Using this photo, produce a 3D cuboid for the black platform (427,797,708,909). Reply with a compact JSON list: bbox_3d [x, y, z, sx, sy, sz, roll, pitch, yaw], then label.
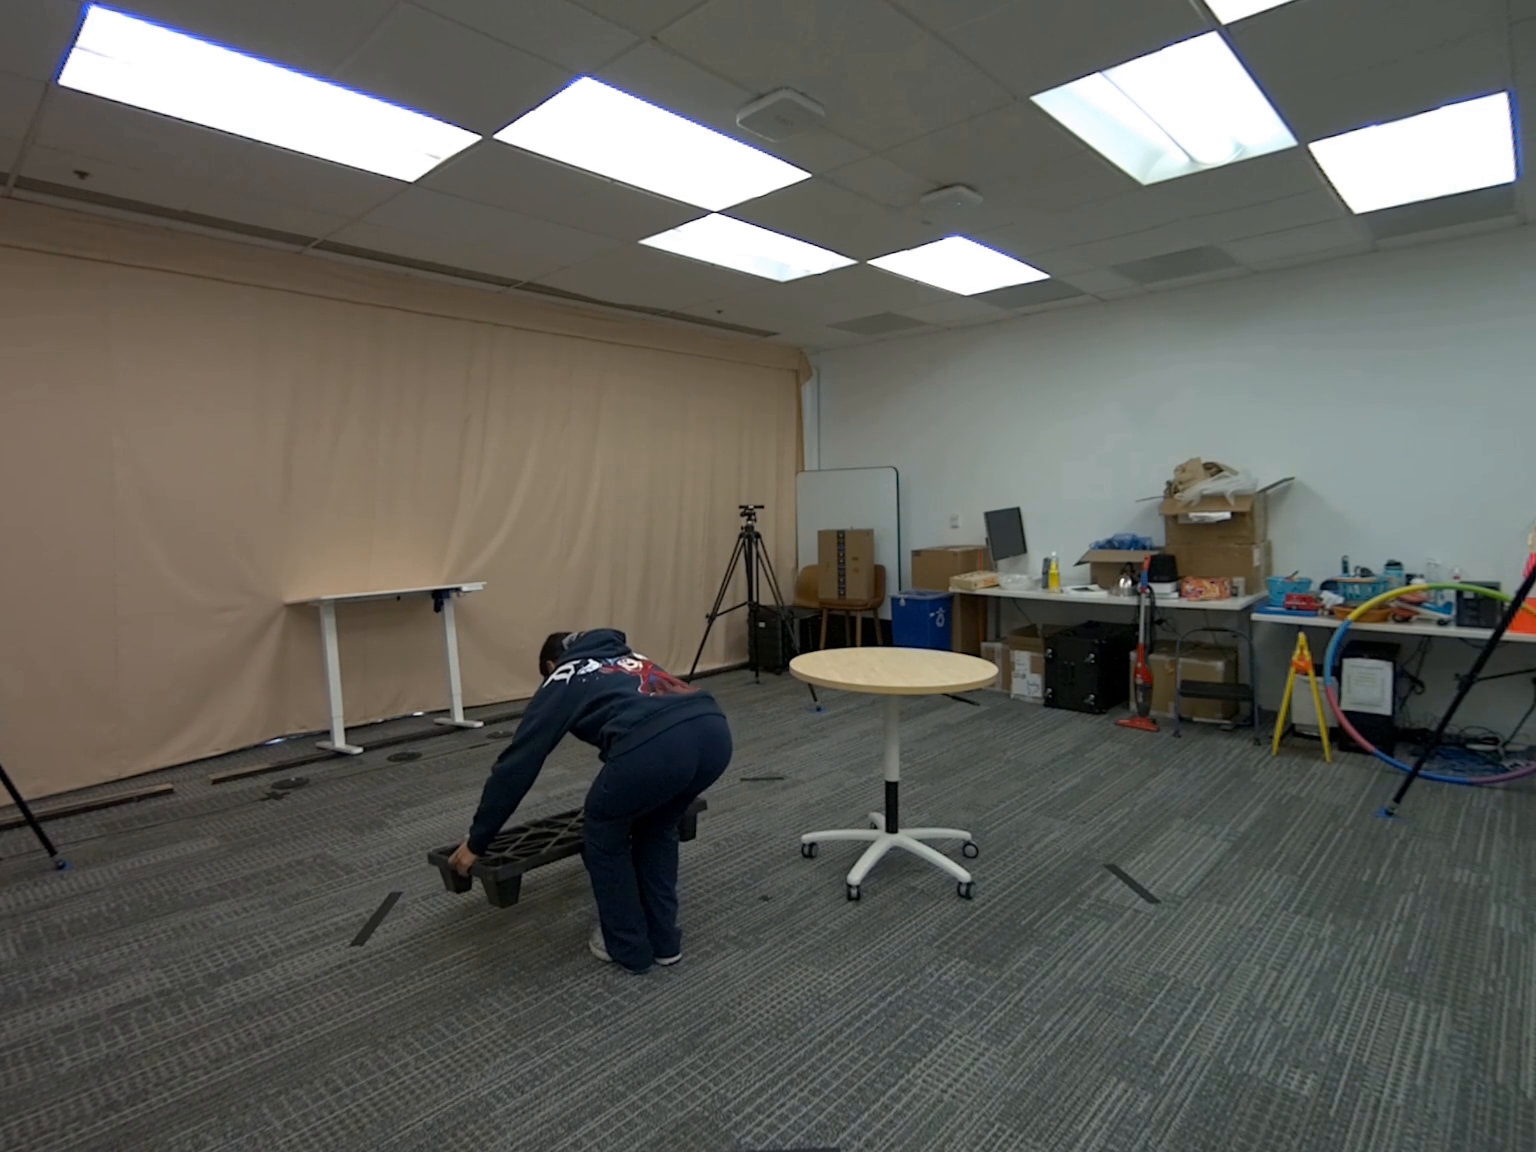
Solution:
[{"bbox_3d":[-0.683,0.933,2.926,0.782,0.144,0.620,-8,-4,-40],"label":"black platform"}]
